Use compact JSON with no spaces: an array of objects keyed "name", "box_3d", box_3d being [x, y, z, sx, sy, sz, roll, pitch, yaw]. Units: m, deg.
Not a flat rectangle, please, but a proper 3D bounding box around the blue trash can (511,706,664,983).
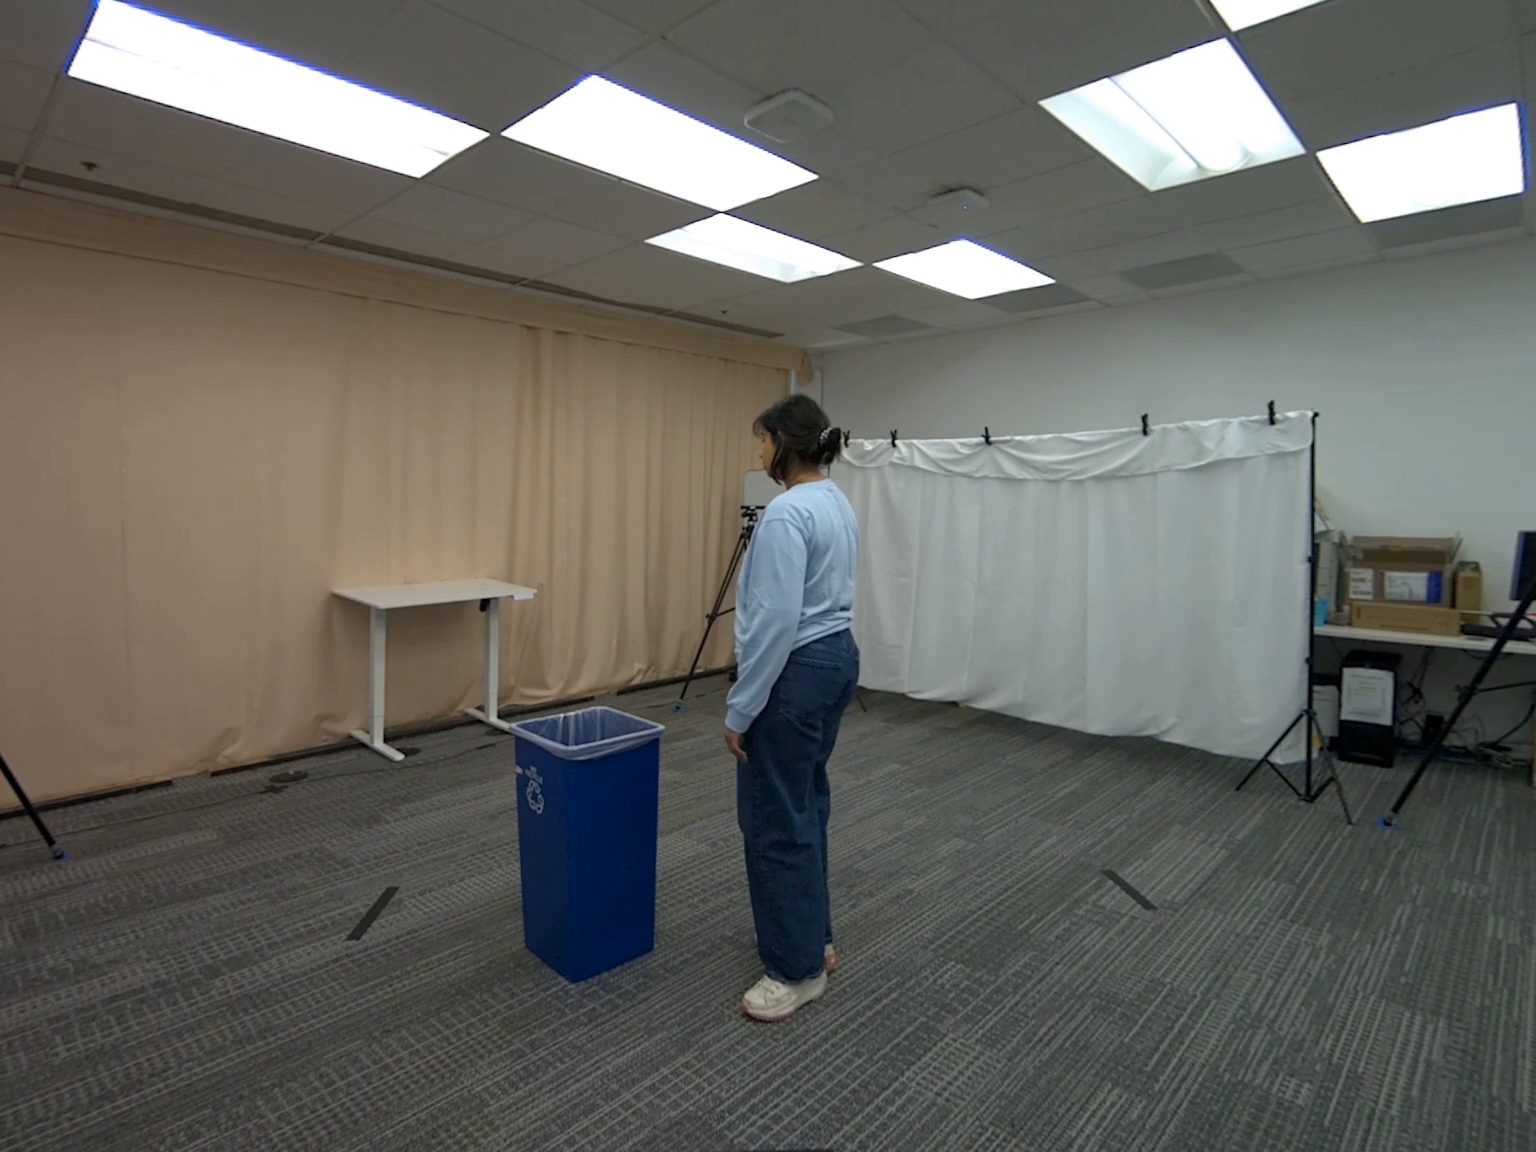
[{"name":"blue trash can","box_3d":[-0.556,0.823,2.636,0.366,0.712,0.386,-4,5,-45]}]
